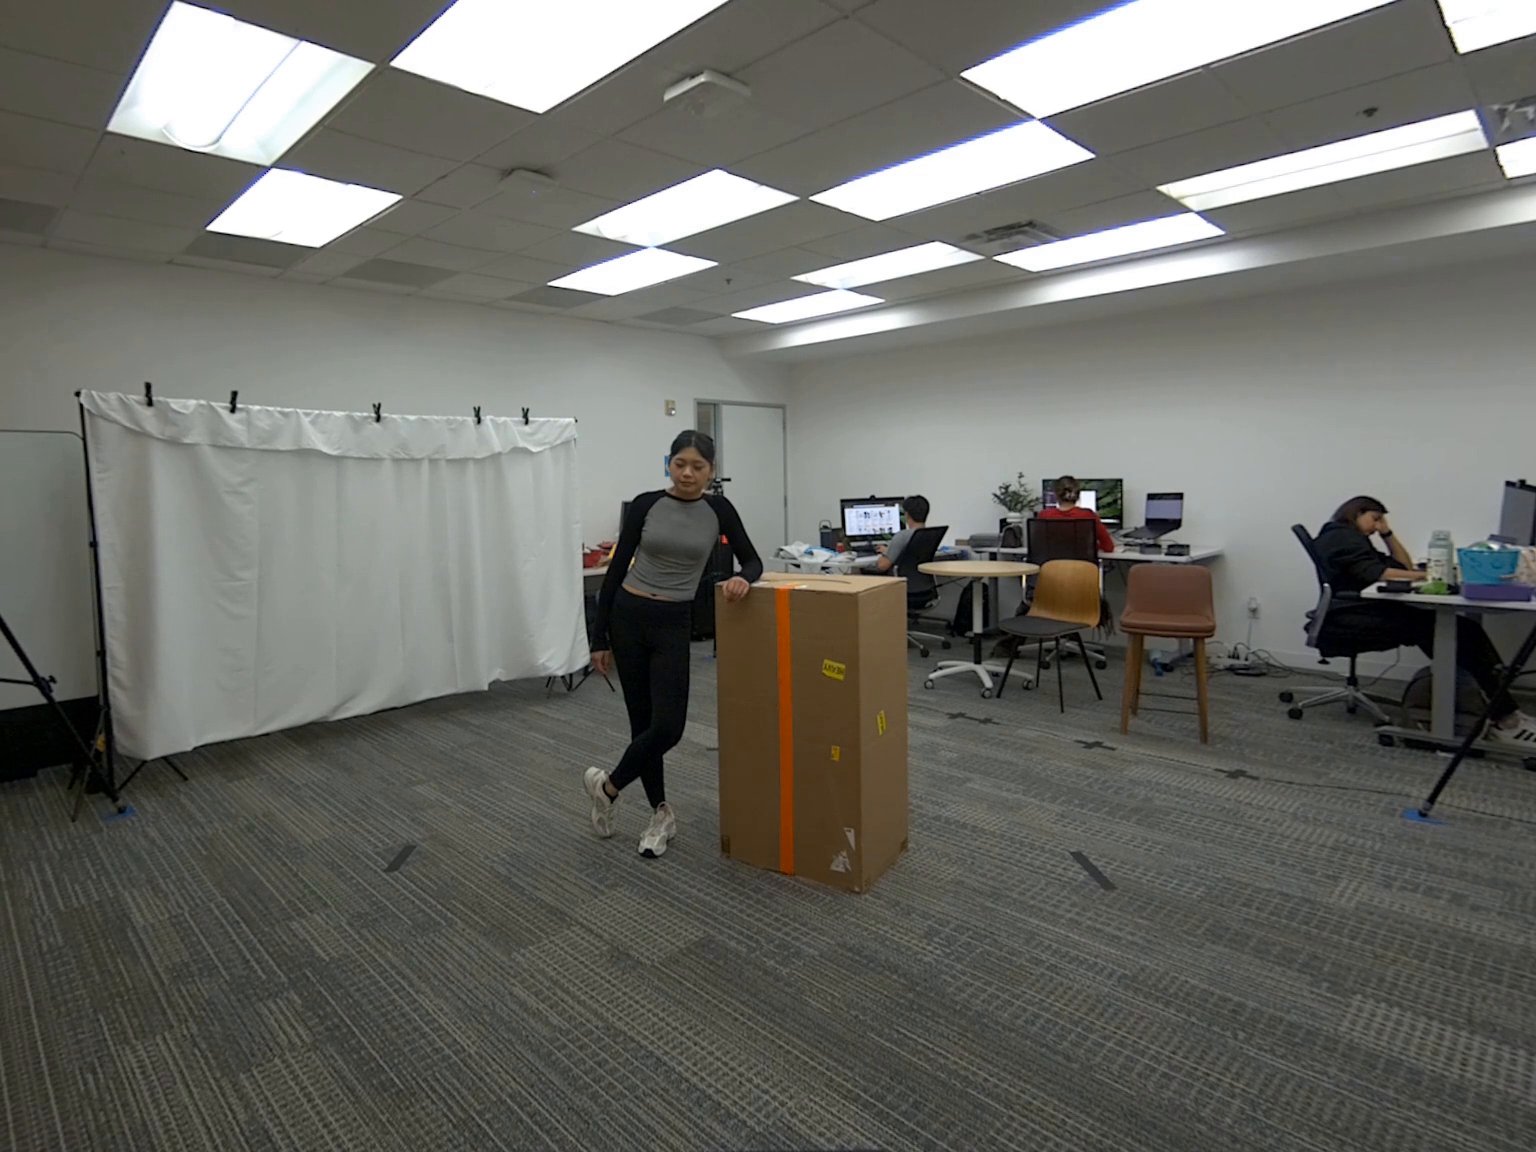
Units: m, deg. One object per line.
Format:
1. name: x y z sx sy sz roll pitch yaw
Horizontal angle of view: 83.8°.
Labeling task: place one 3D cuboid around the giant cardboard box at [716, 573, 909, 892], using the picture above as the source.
1. giant cardboard box: 0.170 0.524 3.151 0.593 1.022 0.416 1 4 33
